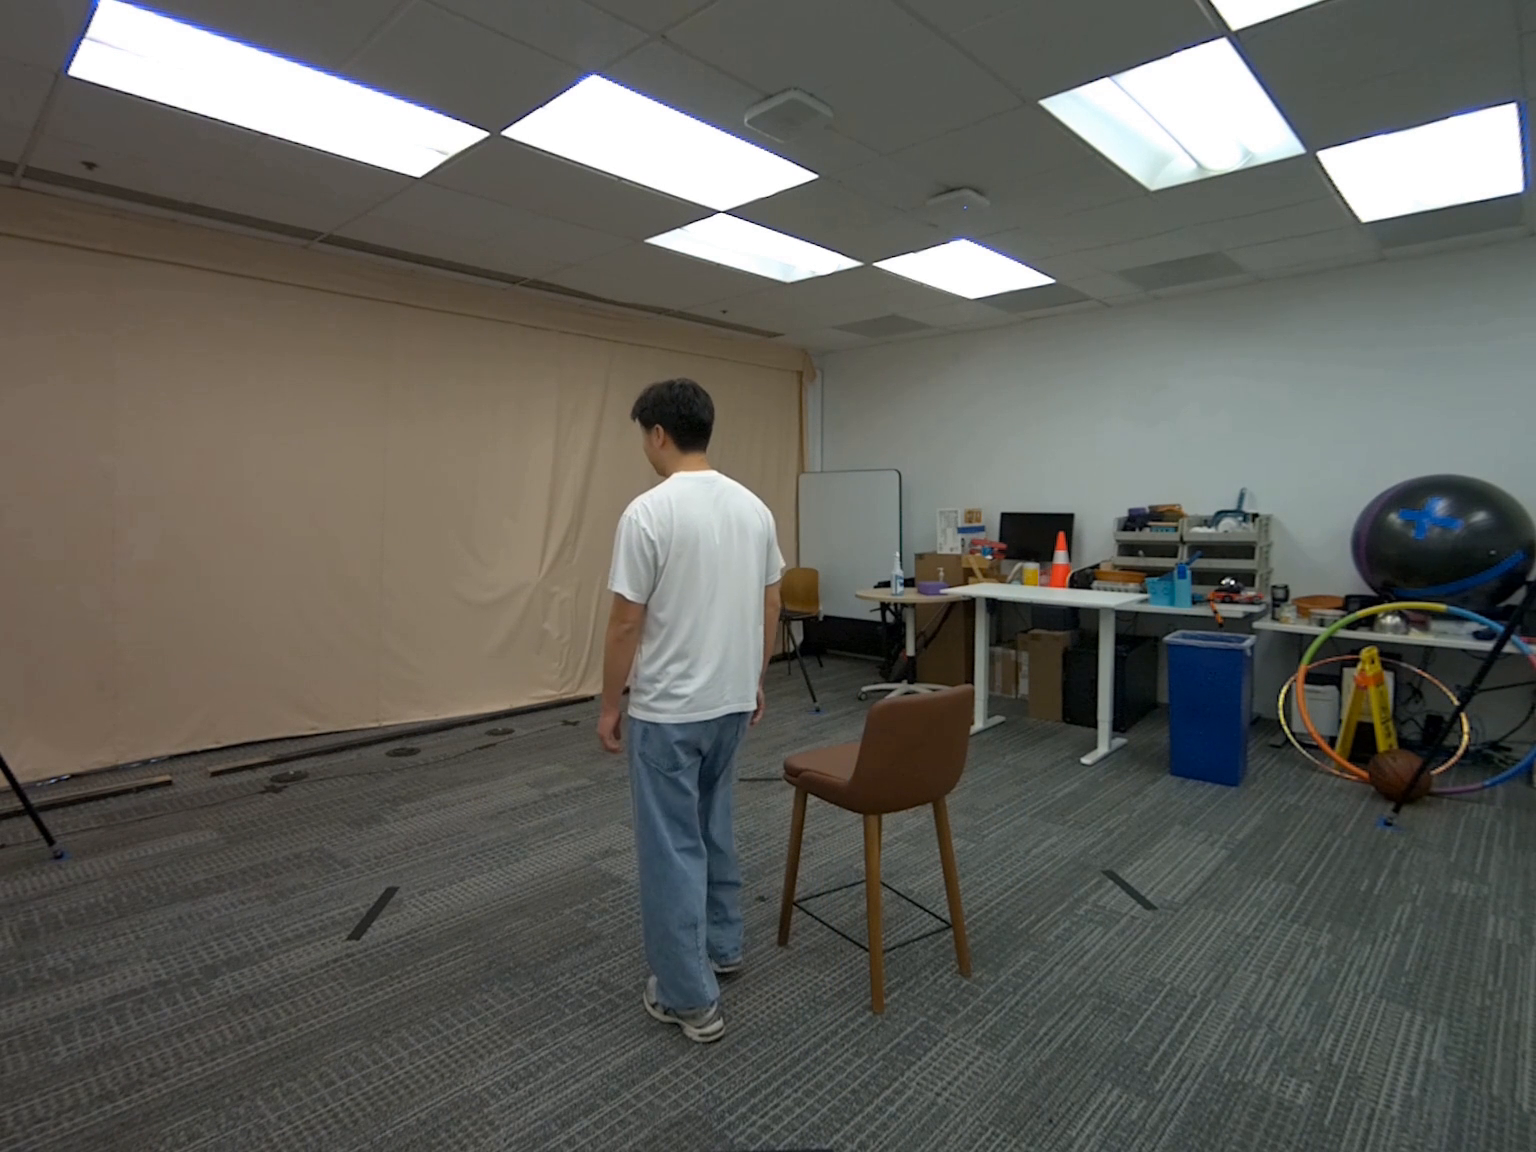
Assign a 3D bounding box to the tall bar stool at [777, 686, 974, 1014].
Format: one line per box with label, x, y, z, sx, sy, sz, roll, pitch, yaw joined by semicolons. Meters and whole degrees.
tall bar stool;0.335;0.744;2.563;0.443;0.887;0.482;-2;6;-34
